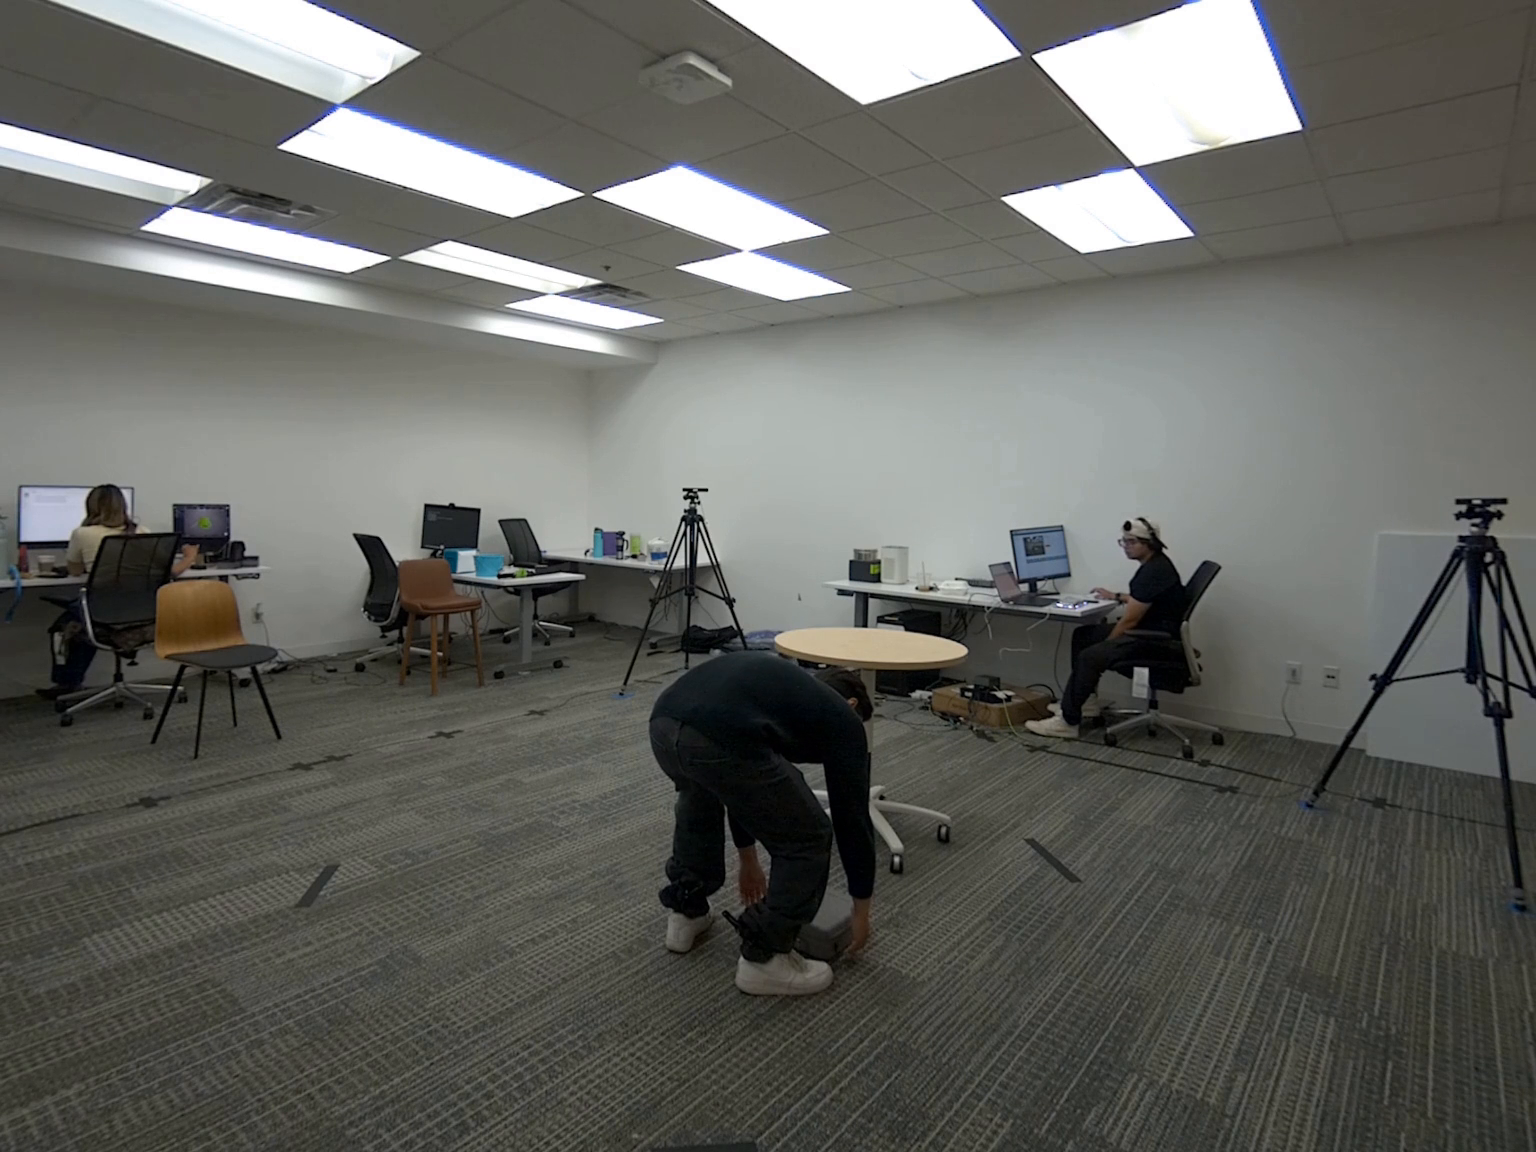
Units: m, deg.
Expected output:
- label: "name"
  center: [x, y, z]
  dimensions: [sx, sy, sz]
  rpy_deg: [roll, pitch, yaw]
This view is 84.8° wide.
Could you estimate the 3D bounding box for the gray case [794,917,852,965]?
- label: "gray case"
  center: [0.143, 1.060, 2.651]
  dimensions: [0.266, 0.104, 0.253]
  rpy_deg: [8, 8, 37]
